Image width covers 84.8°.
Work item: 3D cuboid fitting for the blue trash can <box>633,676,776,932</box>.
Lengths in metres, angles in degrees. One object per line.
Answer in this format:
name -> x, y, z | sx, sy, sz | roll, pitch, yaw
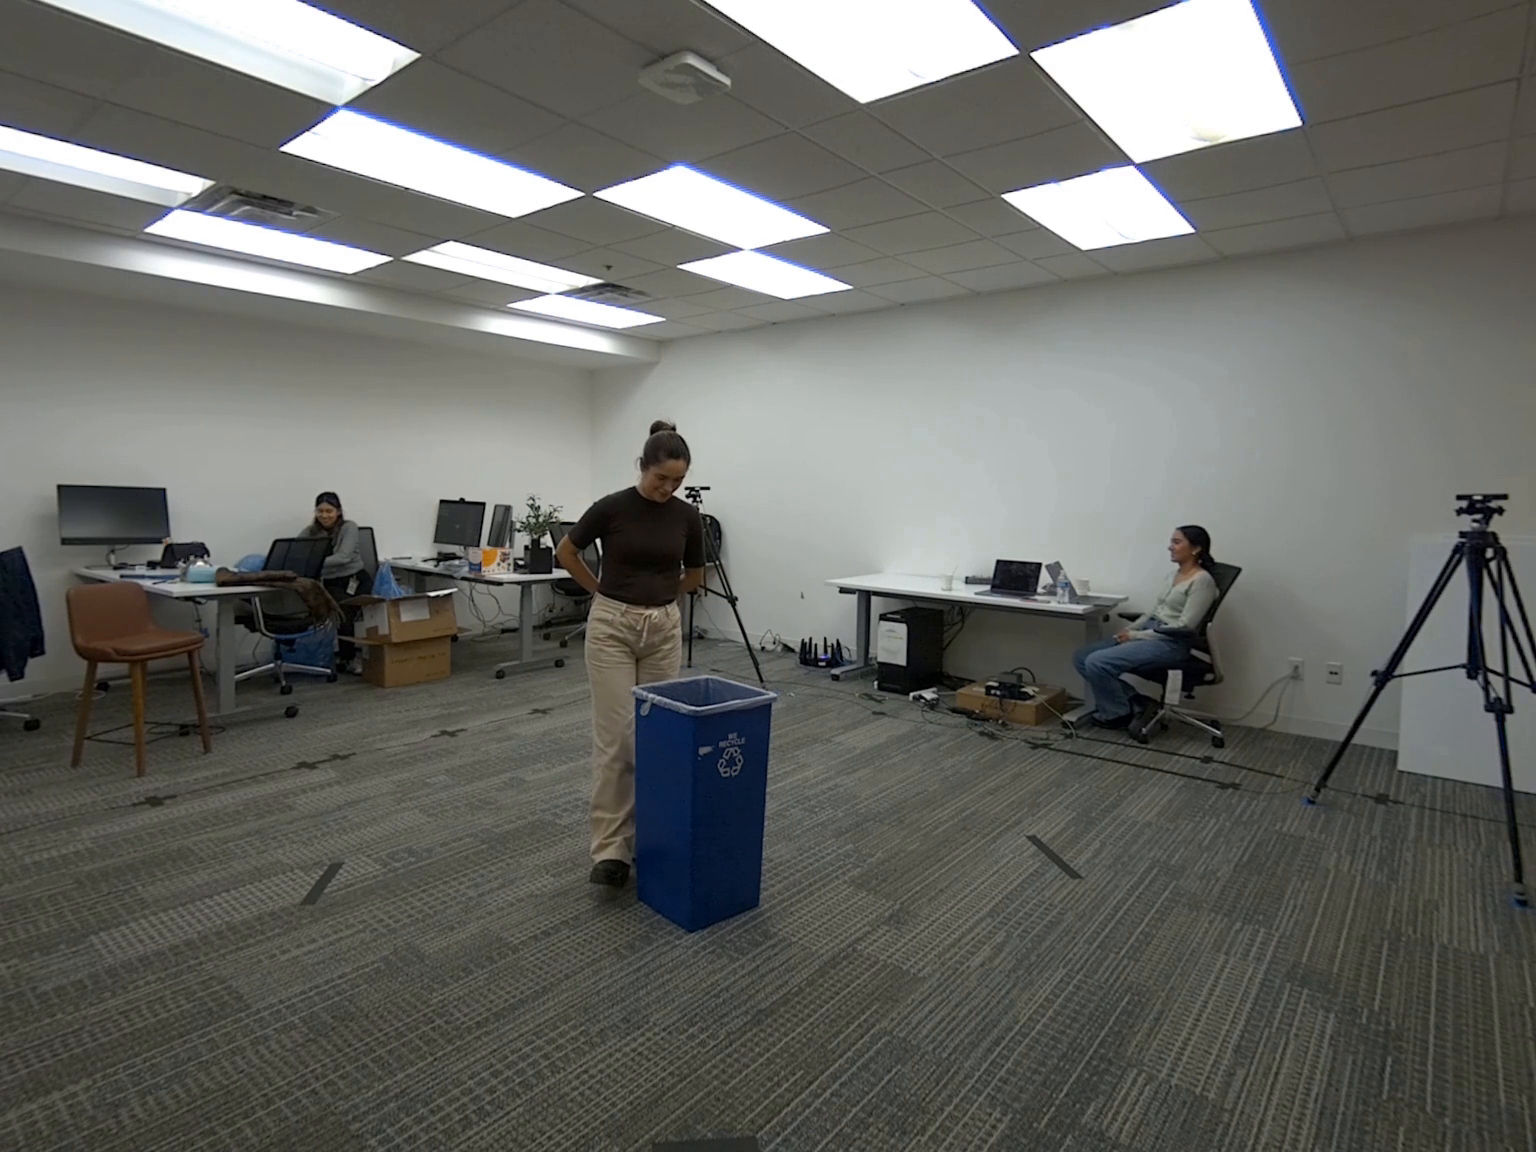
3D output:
blue trash can -> -0.223, 0.733, 2.832 | 0.366, 0.712, 0.387 | -1, 3, -43
